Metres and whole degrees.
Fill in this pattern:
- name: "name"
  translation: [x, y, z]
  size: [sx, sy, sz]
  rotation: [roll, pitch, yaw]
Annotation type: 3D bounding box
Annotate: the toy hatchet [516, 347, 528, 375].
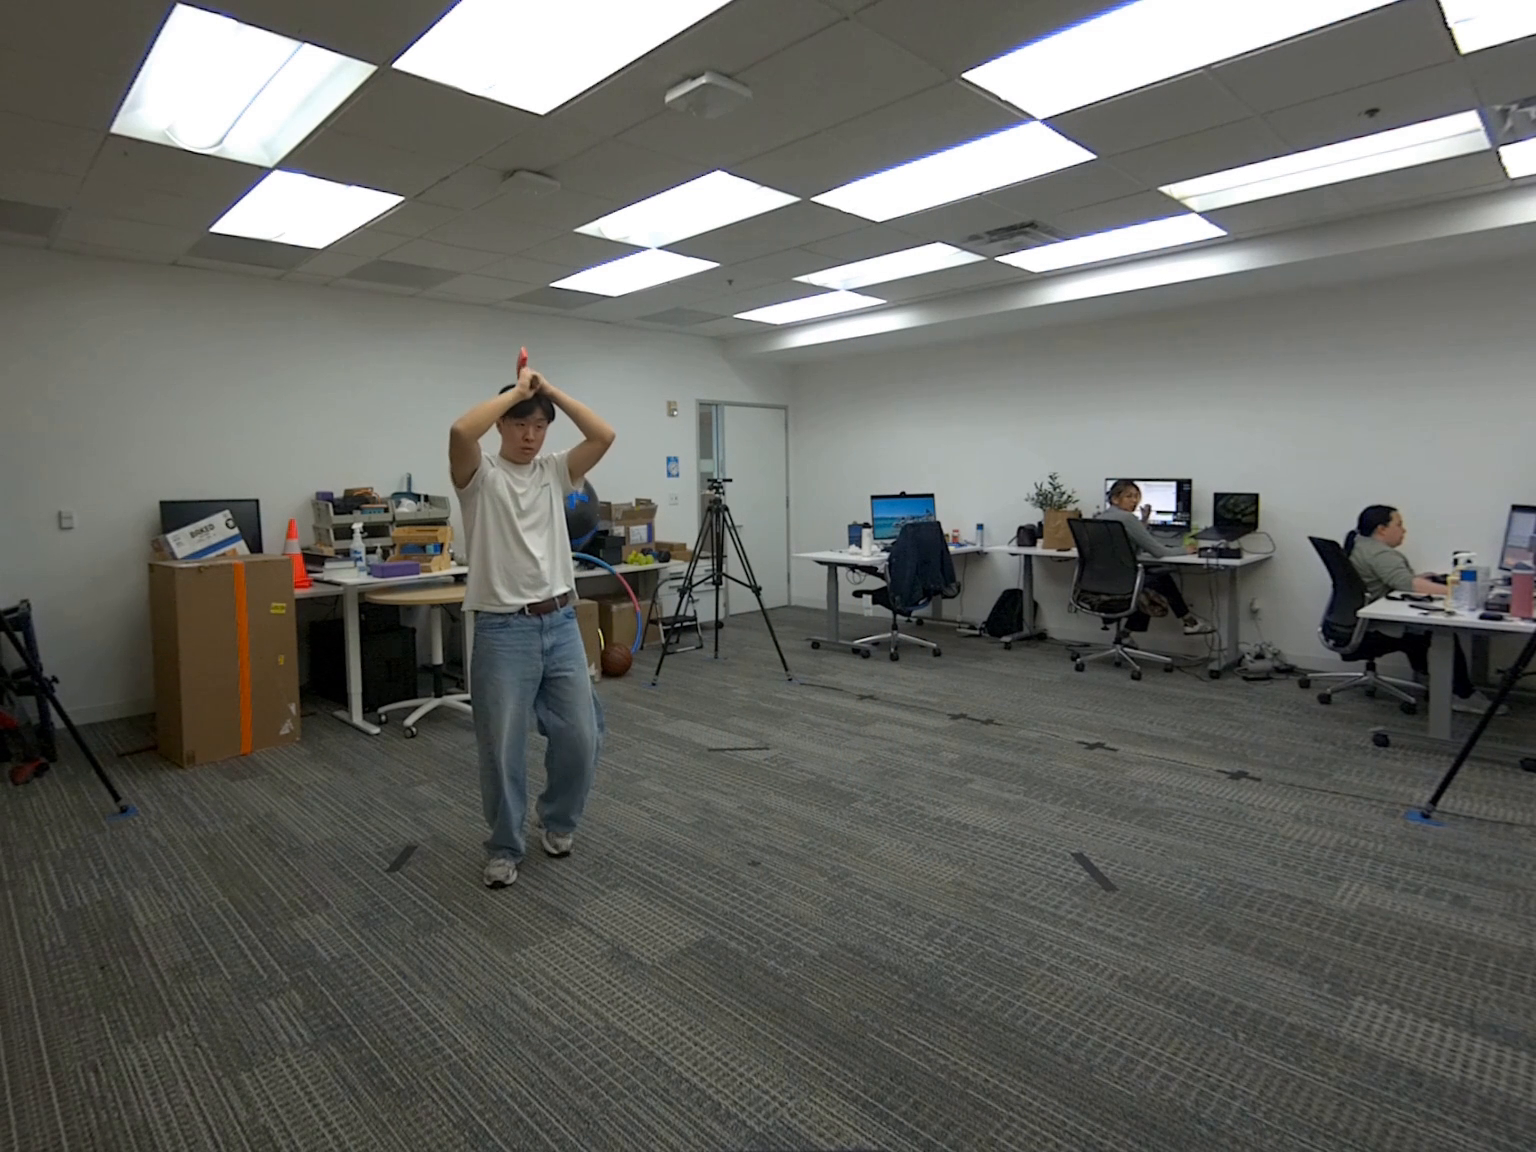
- name: "toy hatchet"
  translation: [-0.857, -0.743, 3.029]
  size: [0.029, 0.130, 0.278]
  rotation: [4, 13, -24]
